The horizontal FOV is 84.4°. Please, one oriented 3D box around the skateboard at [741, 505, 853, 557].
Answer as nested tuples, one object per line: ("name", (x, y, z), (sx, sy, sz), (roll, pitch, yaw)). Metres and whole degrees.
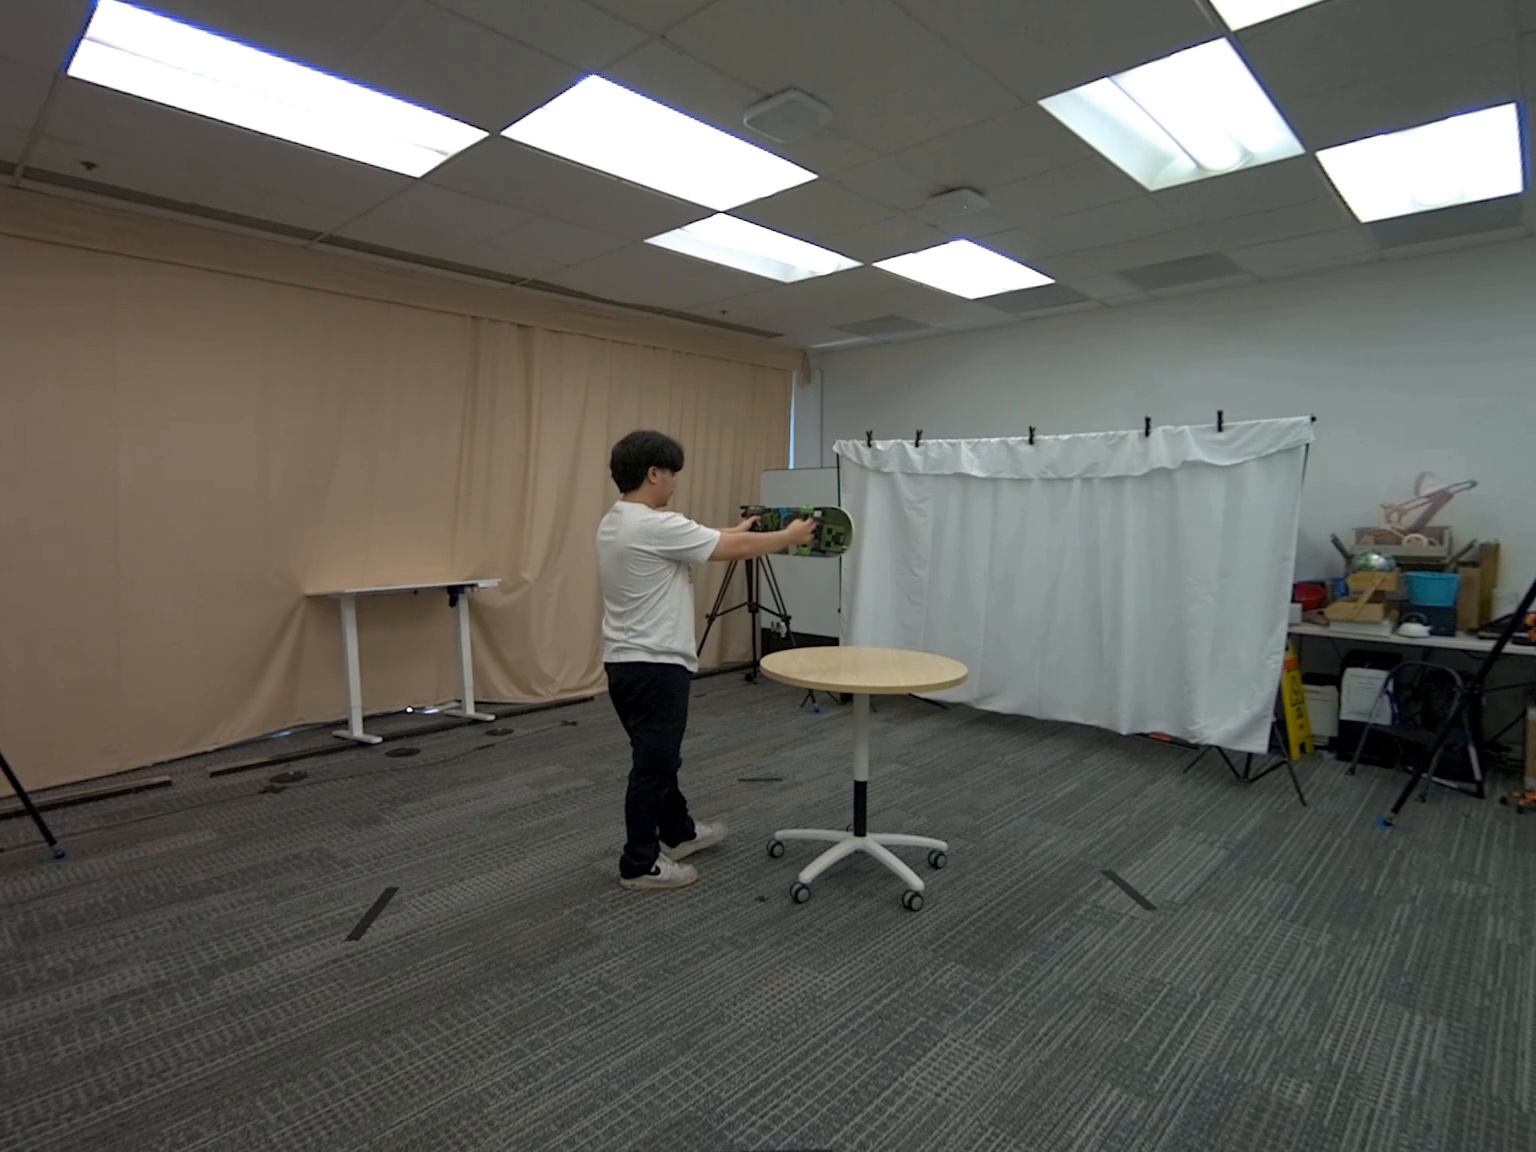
("skateboard", (0.061, -0.168, 3.352), (0.107, 0.193, 0.808), (-2, 5, -30))
